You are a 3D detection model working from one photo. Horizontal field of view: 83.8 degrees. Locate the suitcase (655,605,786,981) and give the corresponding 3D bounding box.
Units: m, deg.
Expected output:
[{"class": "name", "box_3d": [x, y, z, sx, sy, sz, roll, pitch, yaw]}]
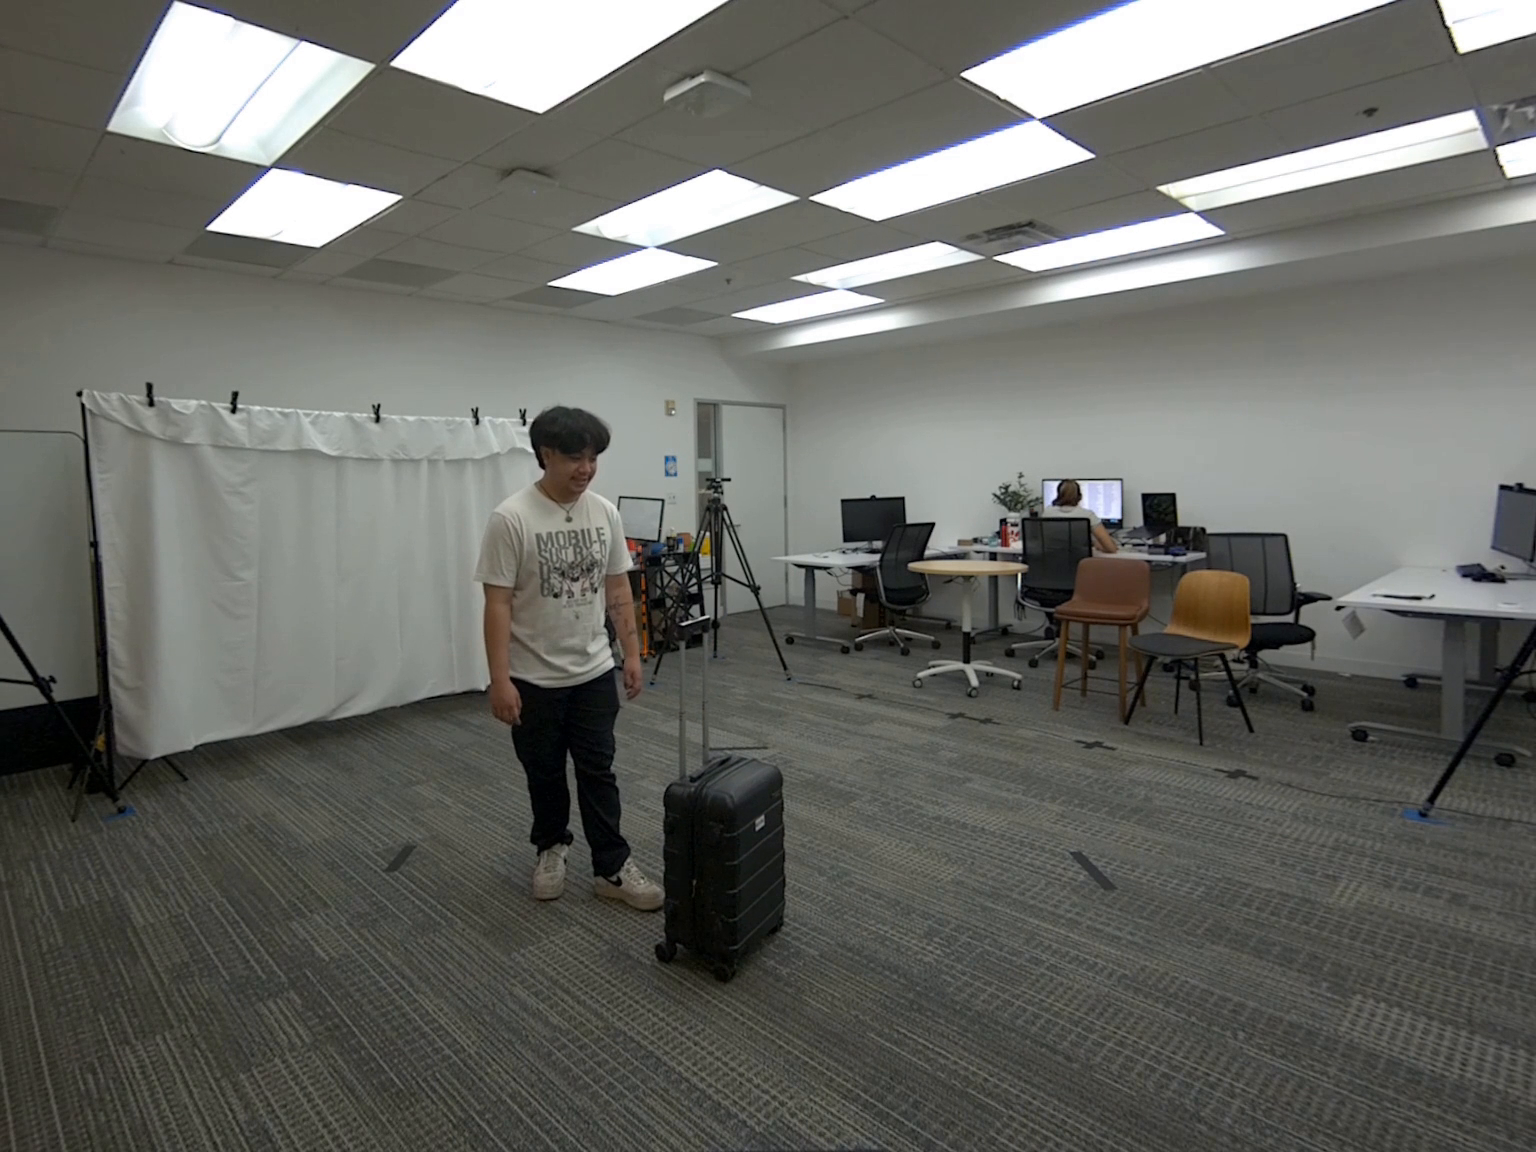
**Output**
[{"class": "suitcase", "box_3d": [-0.120, 0.636, 2.517, 0.264, 0.973, 0.376, 4, 7, 28]}]
